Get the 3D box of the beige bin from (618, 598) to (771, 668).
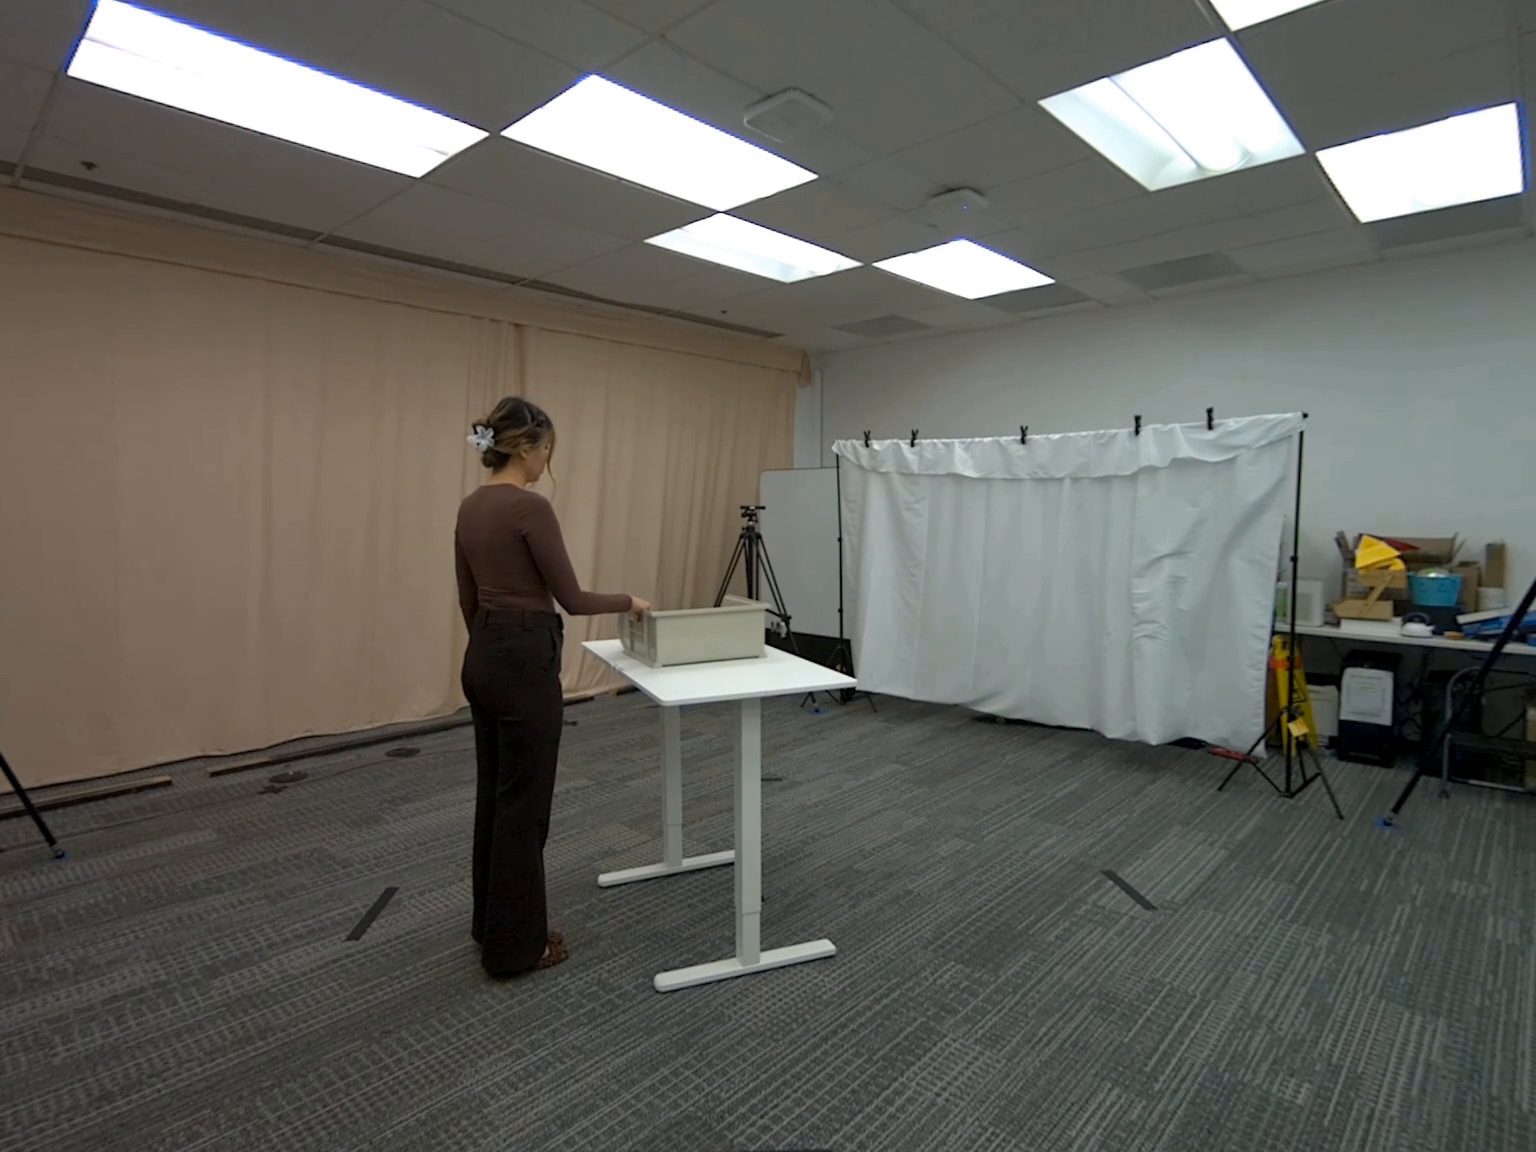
[{"bbox_3d":[-0.265,0.180,2.893,0.412,0.188,0.388,-2,6,-26],"label":"beige bin"}]
